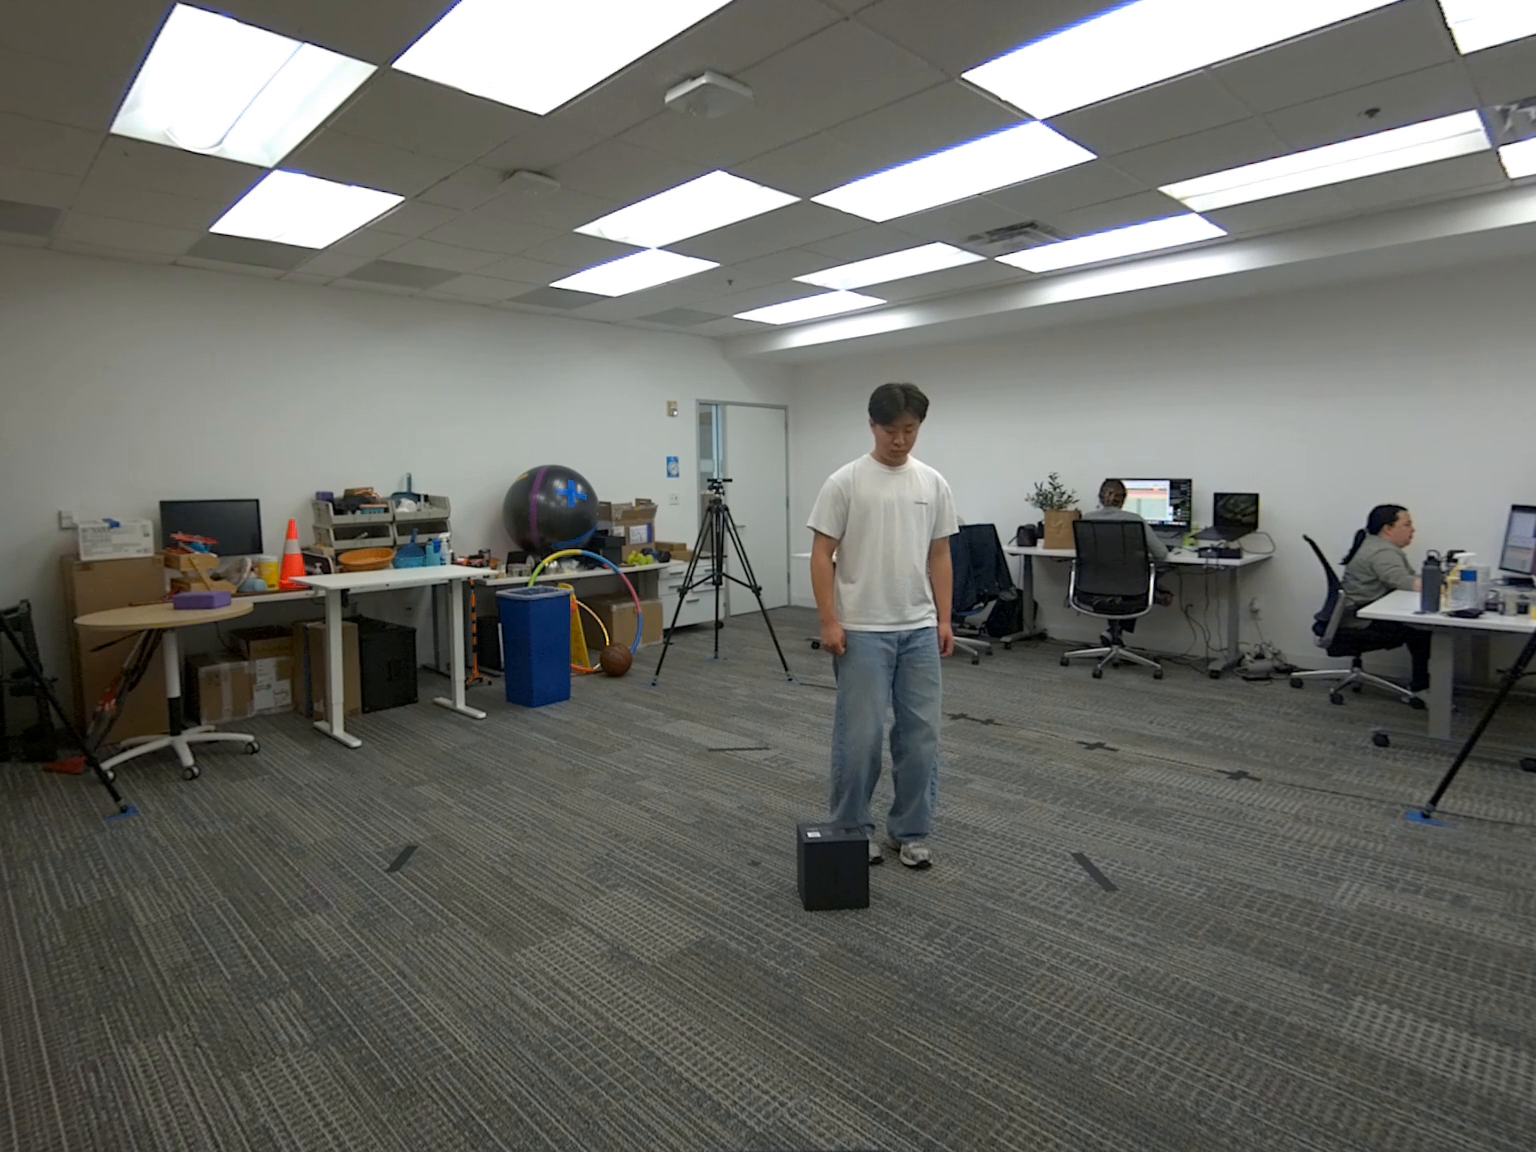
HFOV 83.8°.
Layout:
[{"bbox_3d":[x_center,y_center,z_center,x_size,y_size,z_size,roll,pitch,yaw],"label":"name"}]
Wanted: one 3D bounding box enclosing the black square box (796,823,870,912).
[{"bbox_3d":[0.215,0.952,2.825,0.216,0.227,0.157,-2,4,-6],"label":"black square box"}]
